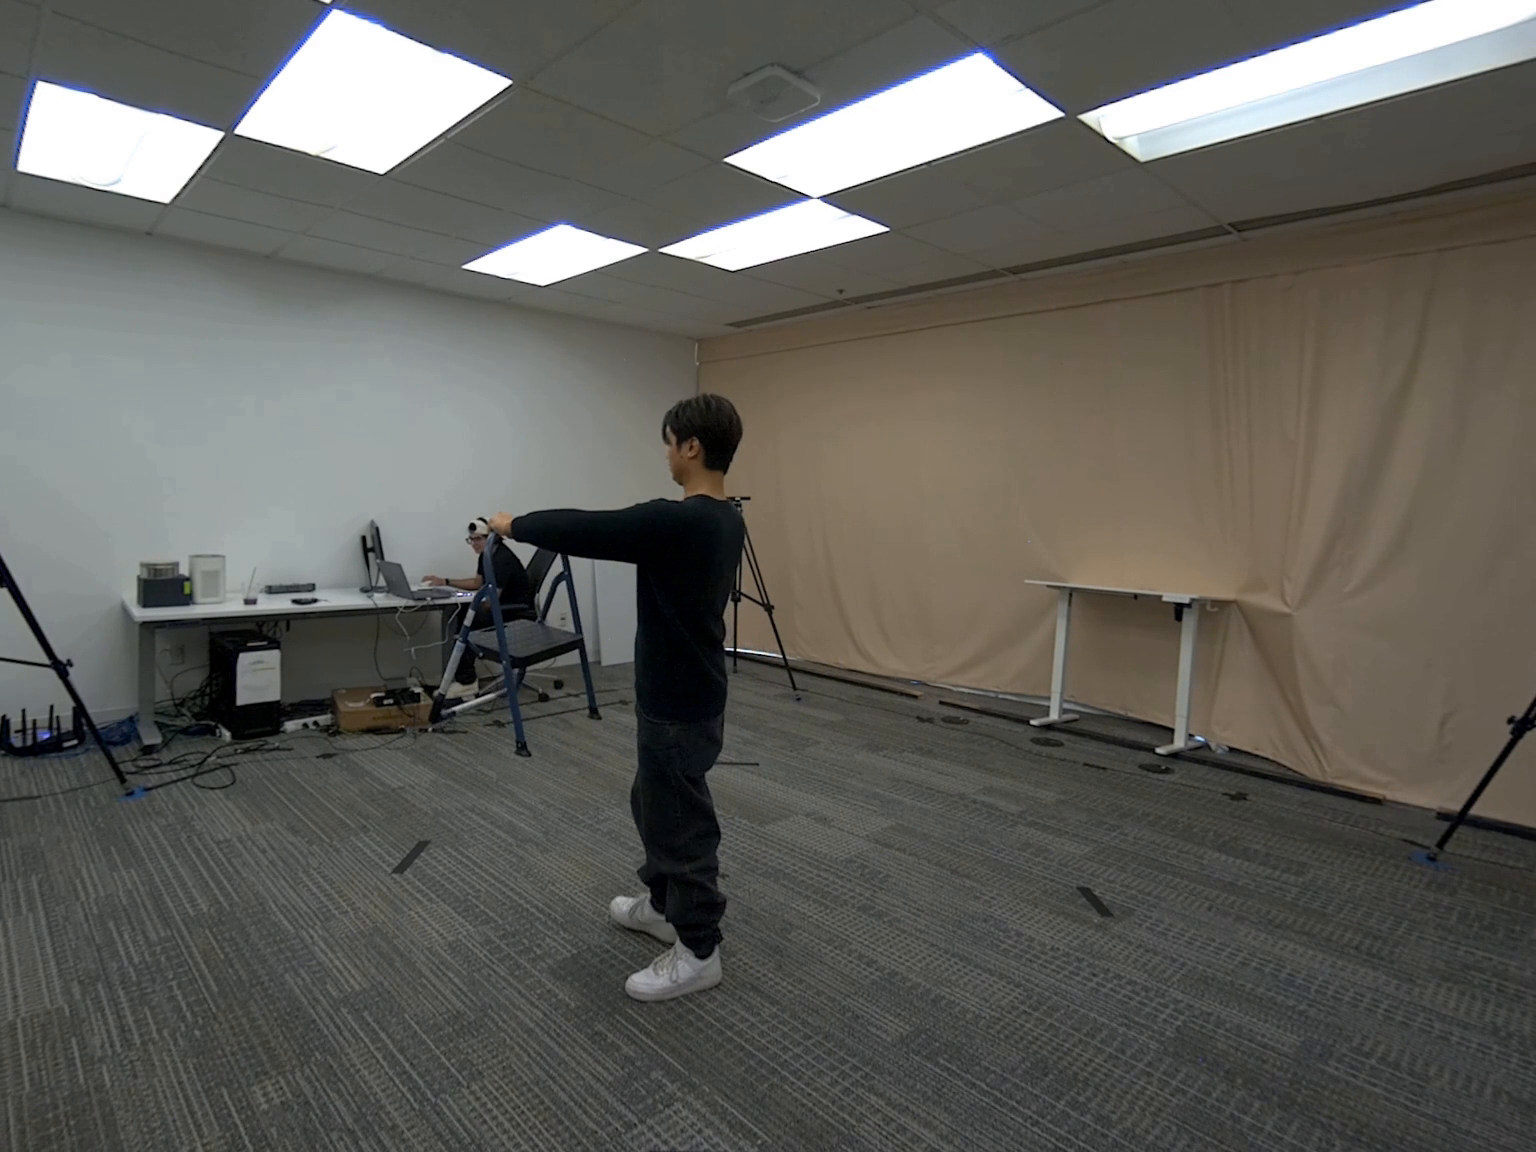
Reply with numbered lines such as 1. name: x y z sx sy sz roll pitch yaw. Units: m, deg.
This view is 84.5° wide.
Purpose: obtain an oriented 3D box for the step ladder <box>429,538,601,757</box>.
1. step ladder: -0.711 0.154 2.512 0.355 0.603 0.426 12 9 17
